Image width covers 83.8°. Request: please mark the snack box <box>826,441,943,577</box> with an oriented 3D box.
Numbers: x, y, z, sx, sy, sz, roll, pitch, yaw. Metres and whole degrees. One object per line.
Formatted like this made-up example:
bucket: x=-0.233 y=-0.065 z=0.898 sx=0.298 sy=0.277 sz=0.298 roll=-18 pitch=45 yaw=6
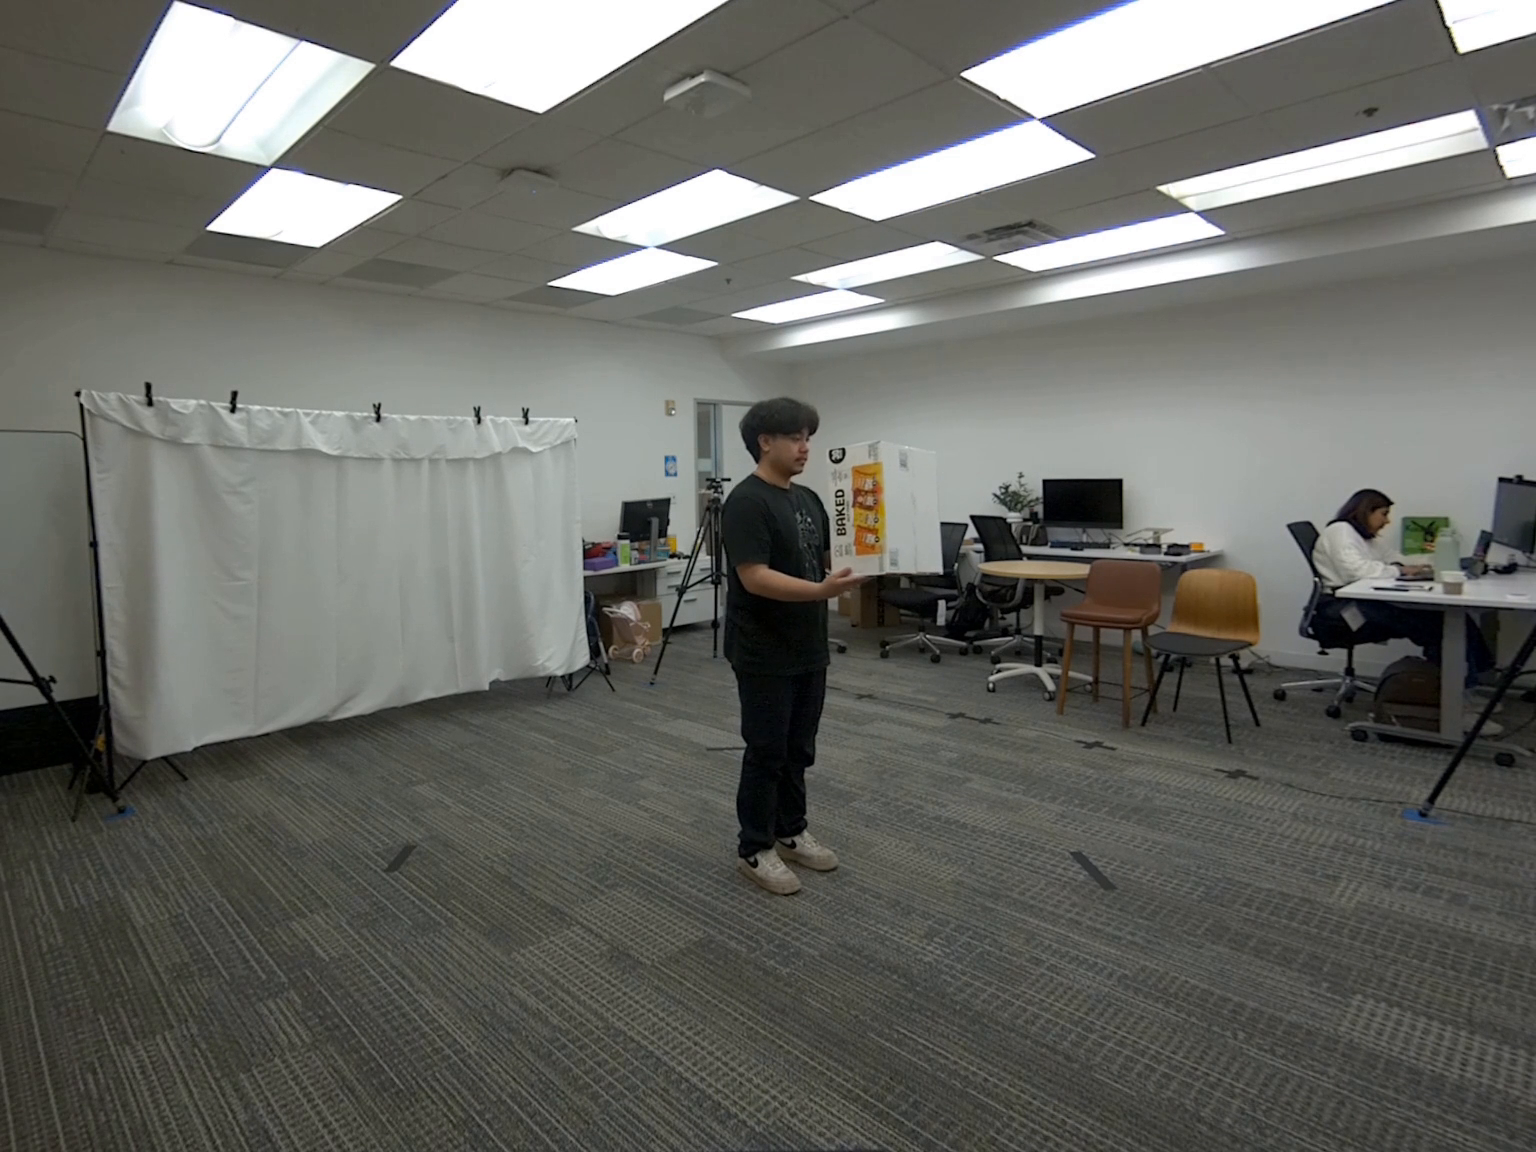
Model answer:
snack box: x=0.375 y=-0.197 z=2.742 sx=0.211 sy=0.407 sz=0.330 roll=-6 pitch=-6 yaw=42
